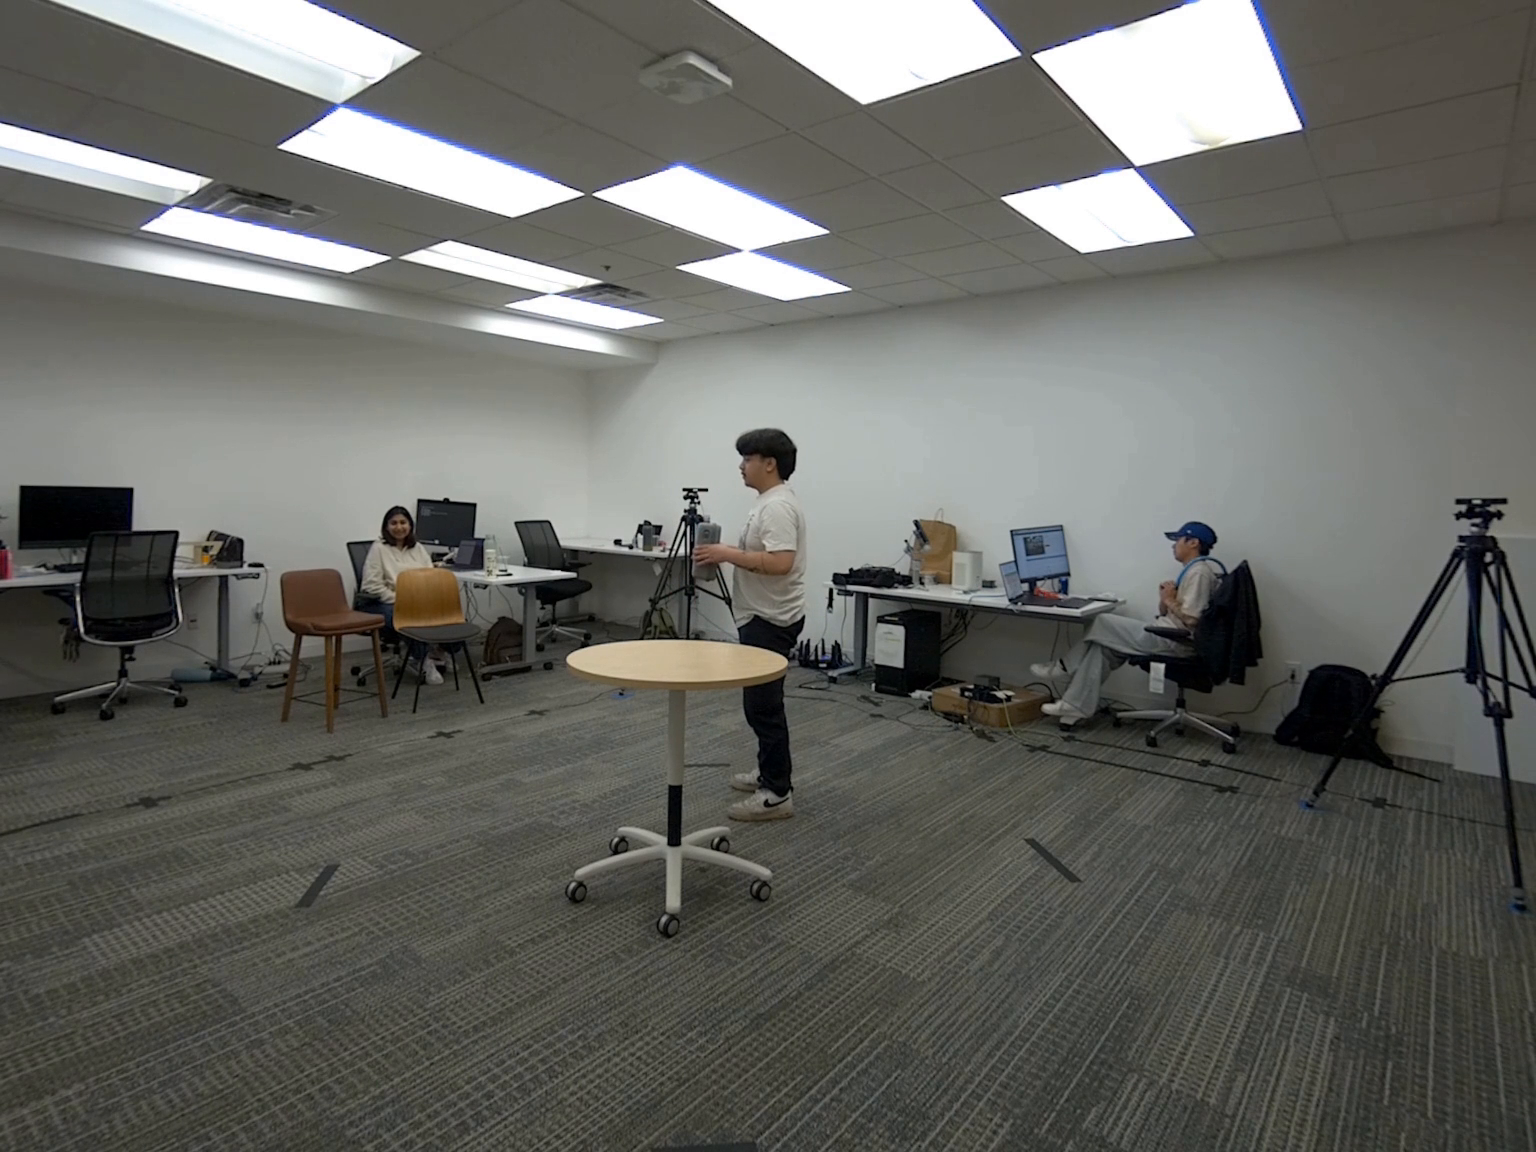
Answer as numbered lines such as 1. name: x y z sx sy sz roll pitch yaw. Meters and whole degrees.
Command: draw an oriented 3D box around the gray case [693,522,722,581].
1. gray case: -0.287 -0.112 3.804 0.103 0.262 0.258 4 -4 -8
